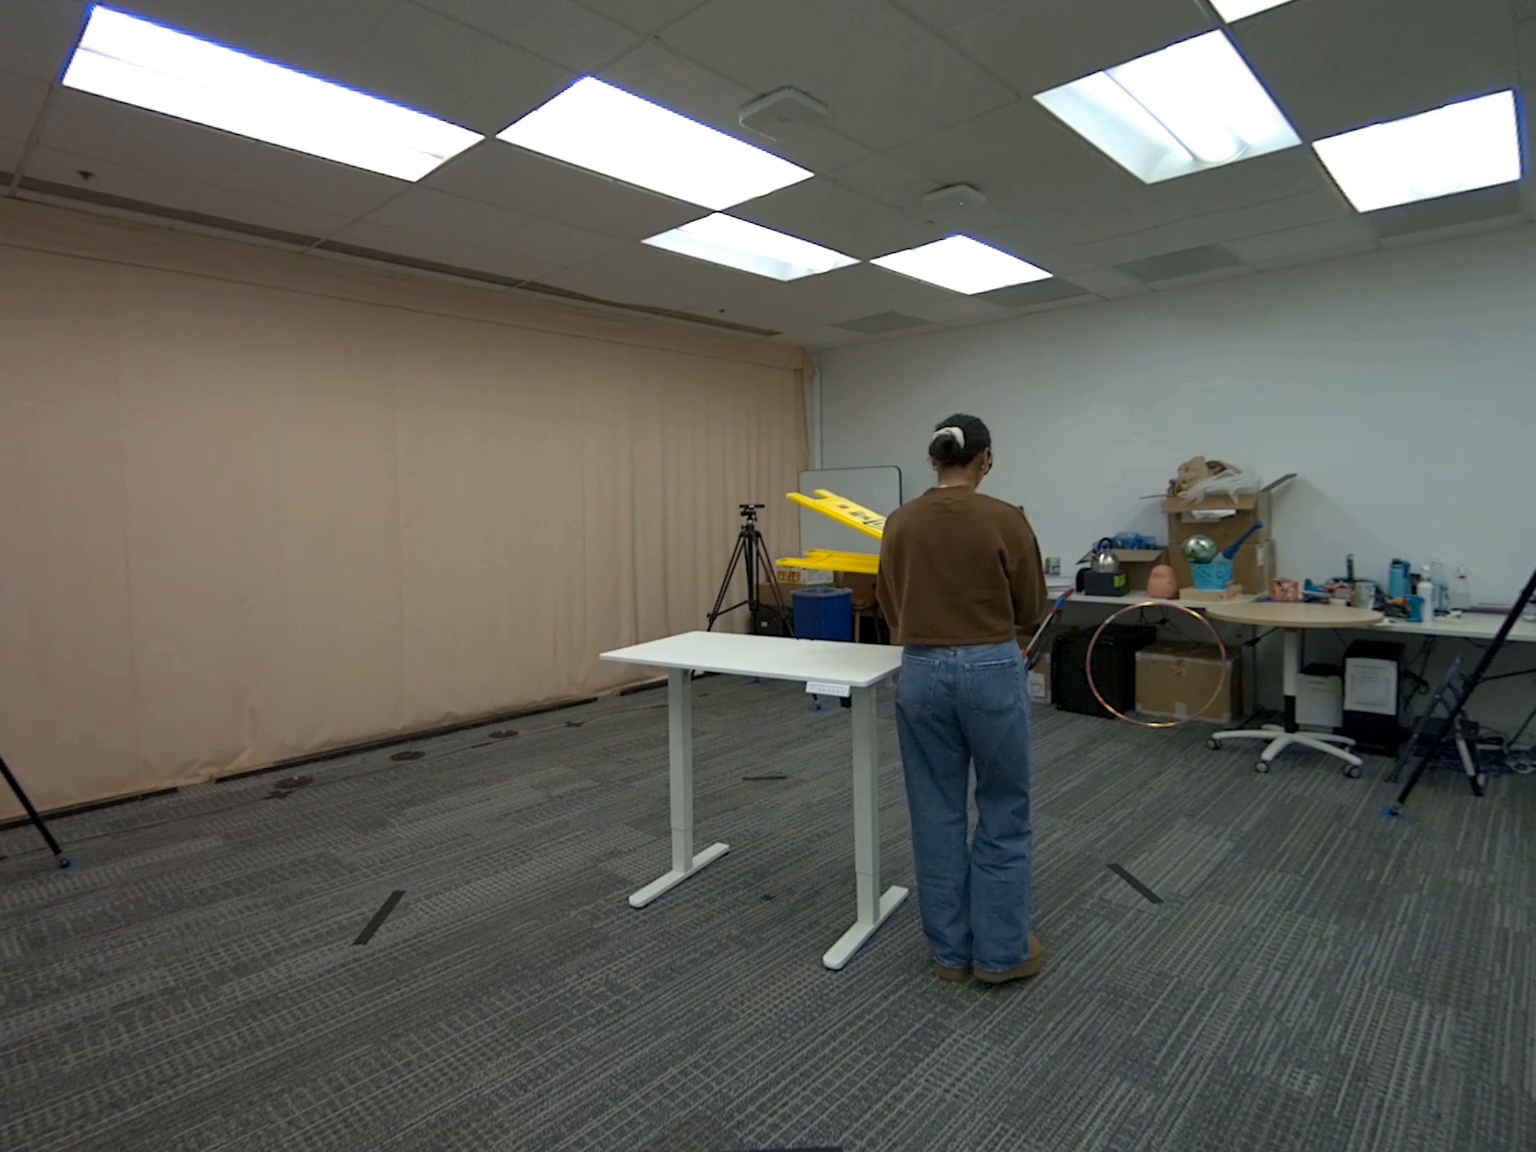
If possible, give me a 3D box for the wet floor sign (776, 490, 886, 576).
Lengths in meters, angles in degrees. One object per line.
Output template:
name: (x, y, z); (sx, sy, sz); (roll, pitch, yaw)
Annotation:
wet floor sign: (0.402, -0.092, 2.881); (0.666, 0.287, 0.275); (15, 17, 30)
